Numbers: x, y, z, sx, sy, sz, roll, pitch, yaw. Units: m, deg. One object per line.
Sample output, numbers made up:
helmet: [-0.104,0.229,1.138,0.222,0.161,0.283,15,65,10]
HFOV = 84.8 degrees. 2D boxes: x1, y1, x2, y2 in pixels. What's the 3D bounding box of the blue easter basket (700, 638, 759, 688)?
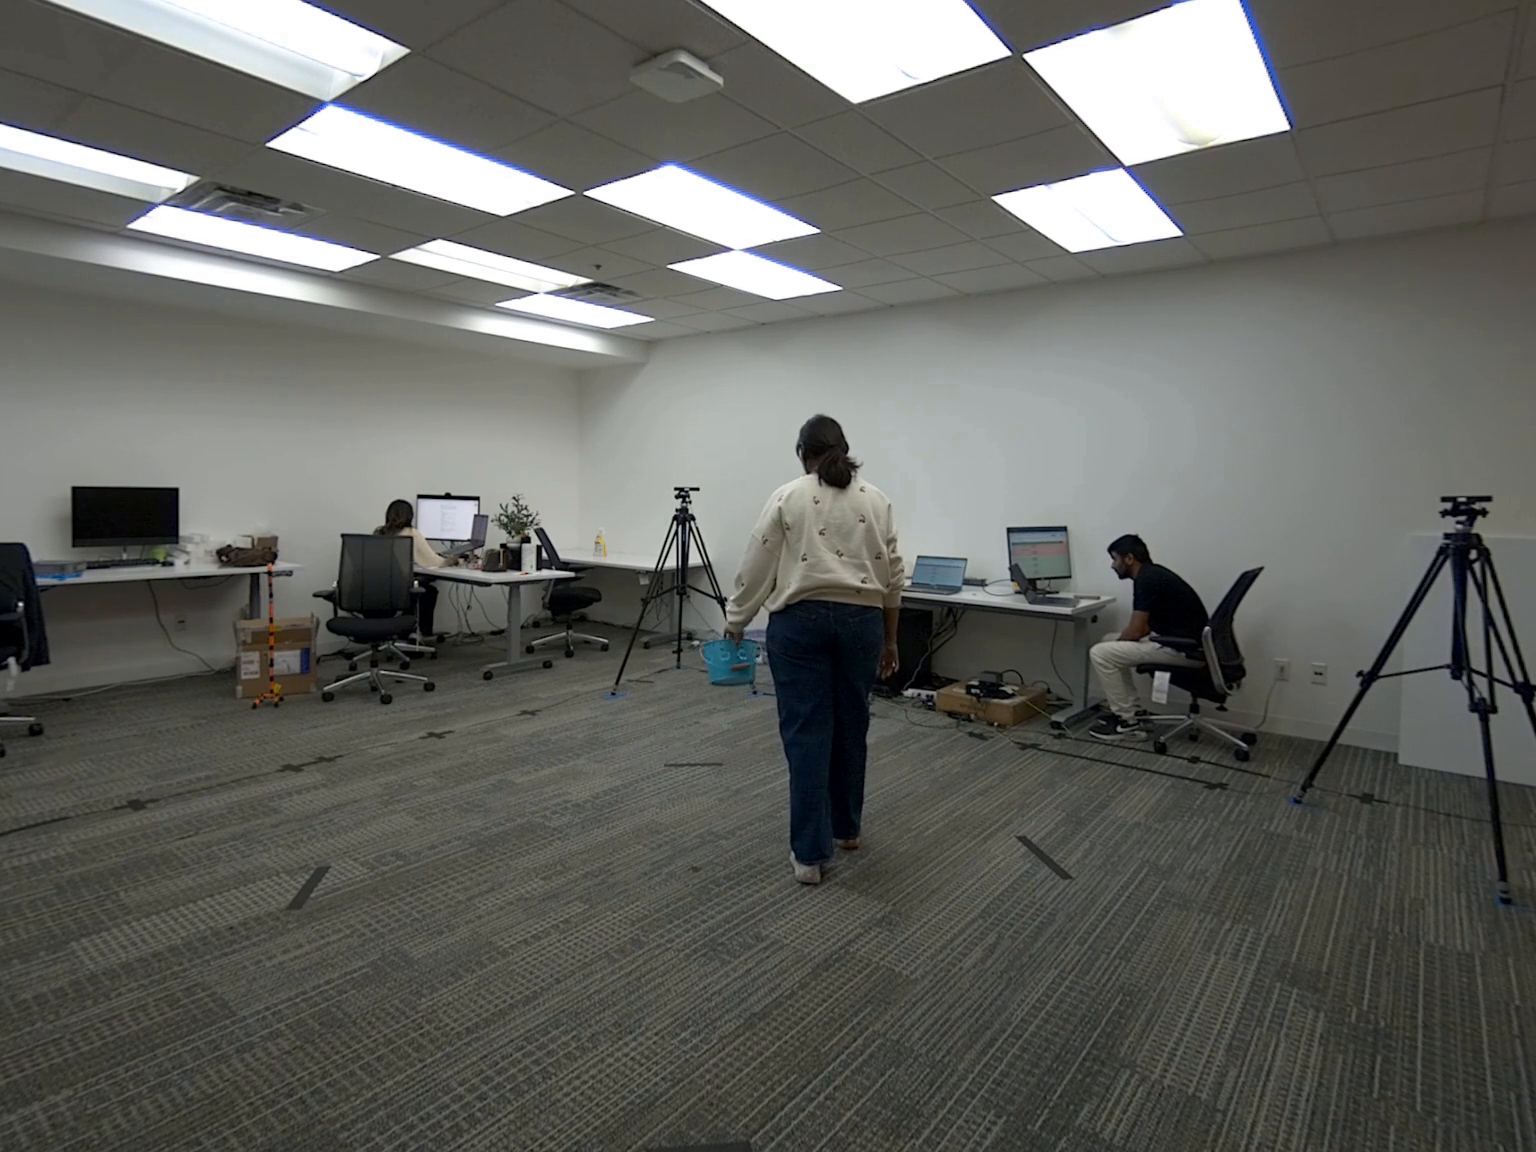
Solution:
blue easter basket: [-0.157,0.355,3.399,0.243,0.159,0.239,-2,-19,-3]
